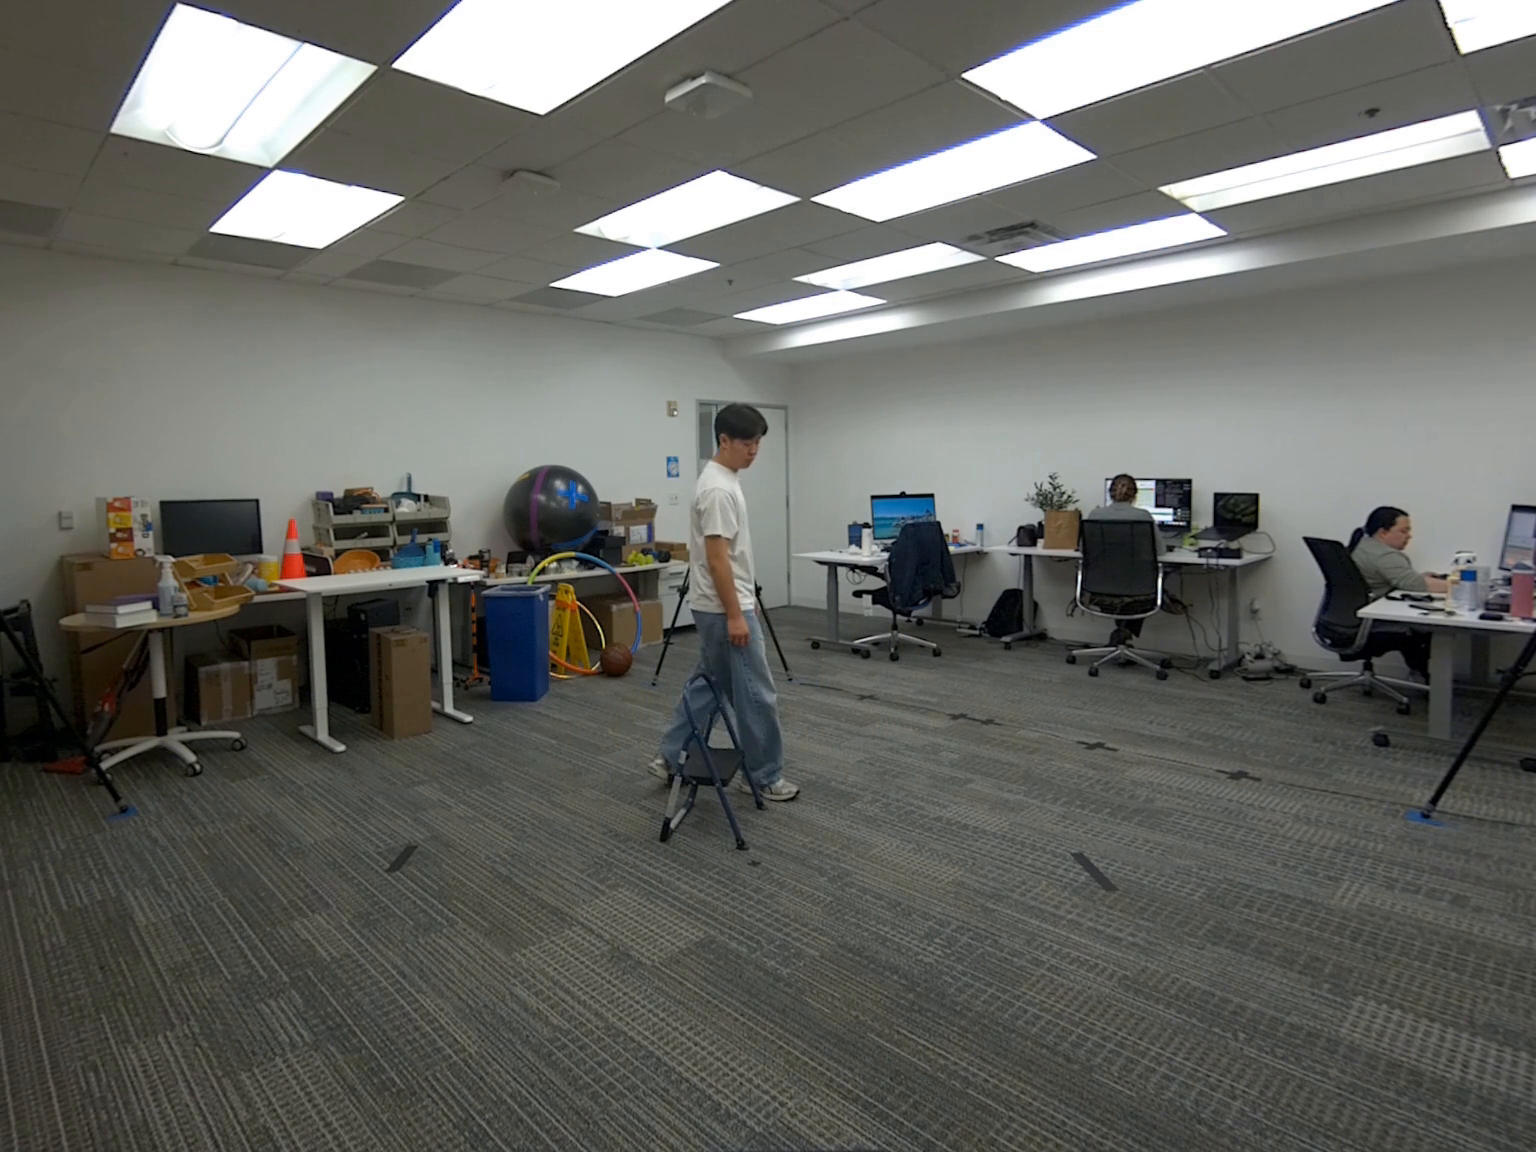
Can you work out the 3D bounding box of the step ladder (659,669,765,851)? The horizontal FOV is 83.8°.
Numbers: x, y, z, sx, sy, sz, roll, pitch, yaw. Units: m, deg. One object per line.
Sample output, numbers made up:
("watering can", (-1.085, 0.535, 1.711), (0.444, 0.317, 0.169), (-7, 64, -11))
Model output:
("step ladder", (-0.225, 0.711, 3.444), (0.353, 0.604, 0.427), (0, 4, 11))
